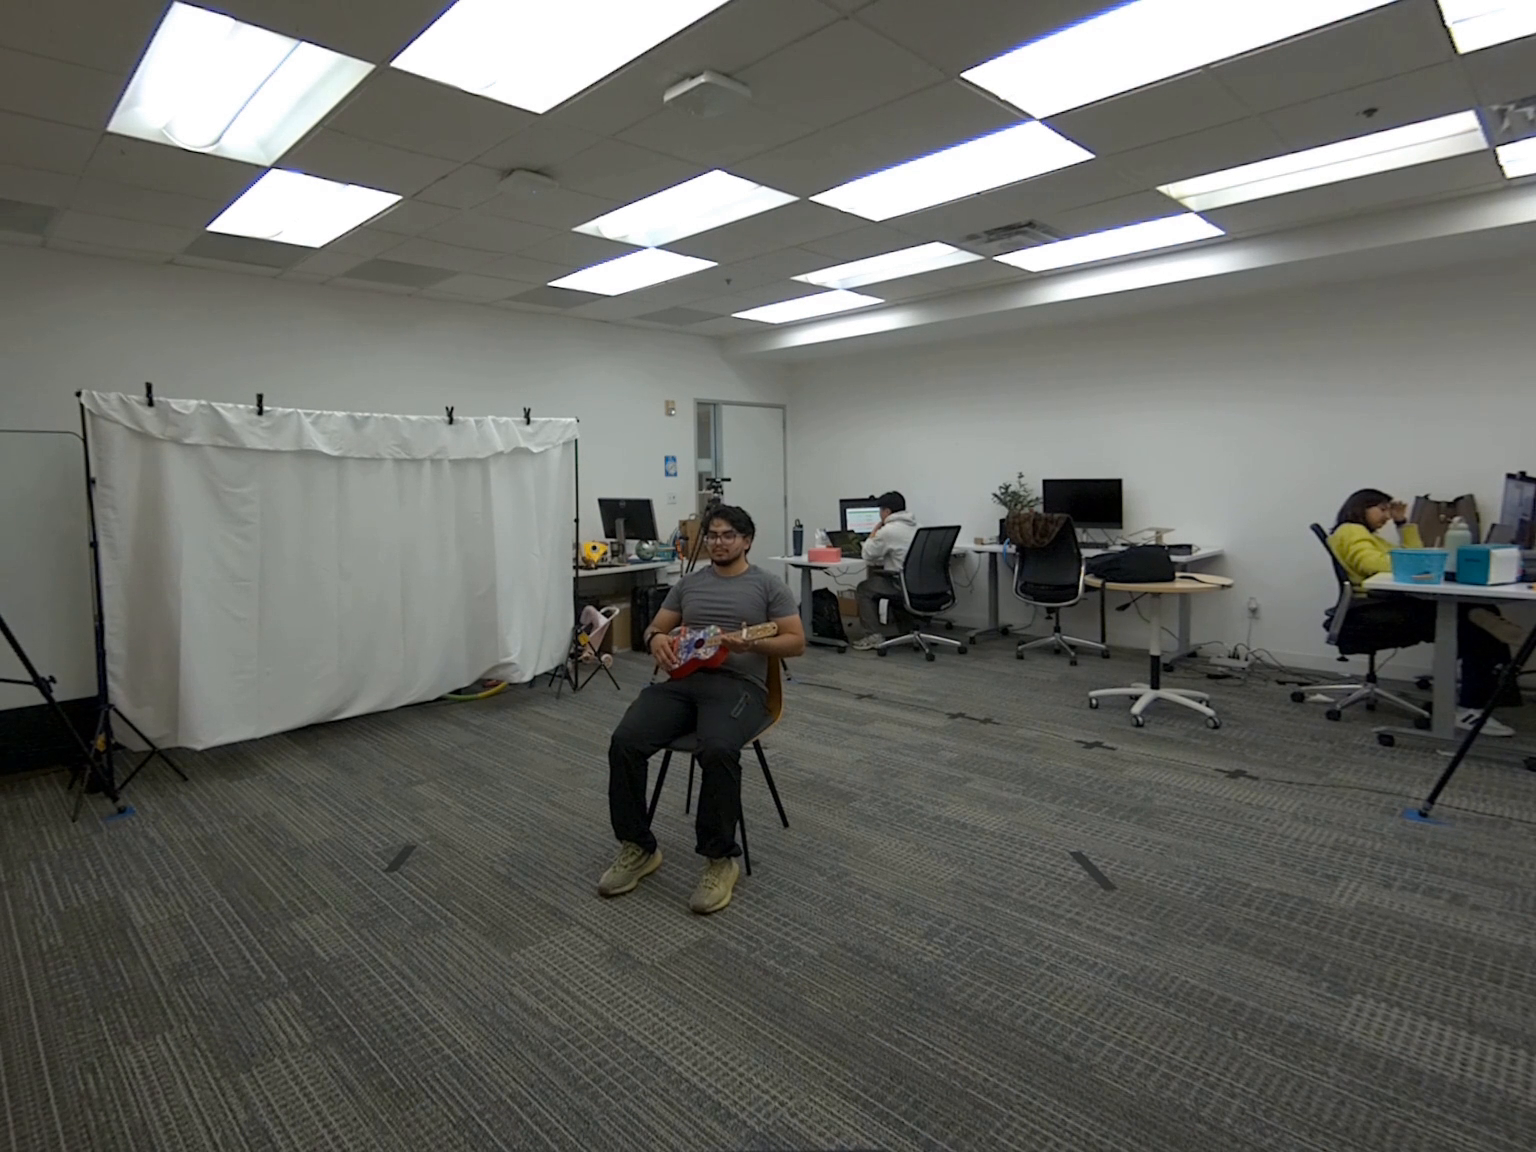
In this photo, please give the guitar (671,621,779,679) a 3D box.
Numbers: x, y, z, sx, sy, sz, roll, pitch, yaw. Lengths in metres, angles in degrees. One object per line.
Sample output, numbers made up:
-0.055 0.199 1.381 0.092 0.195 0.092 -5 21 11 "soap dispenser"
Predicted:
-0.192 0.271 3.114 0.510 0.196 0.068 -5 -39 34 "guitar"
